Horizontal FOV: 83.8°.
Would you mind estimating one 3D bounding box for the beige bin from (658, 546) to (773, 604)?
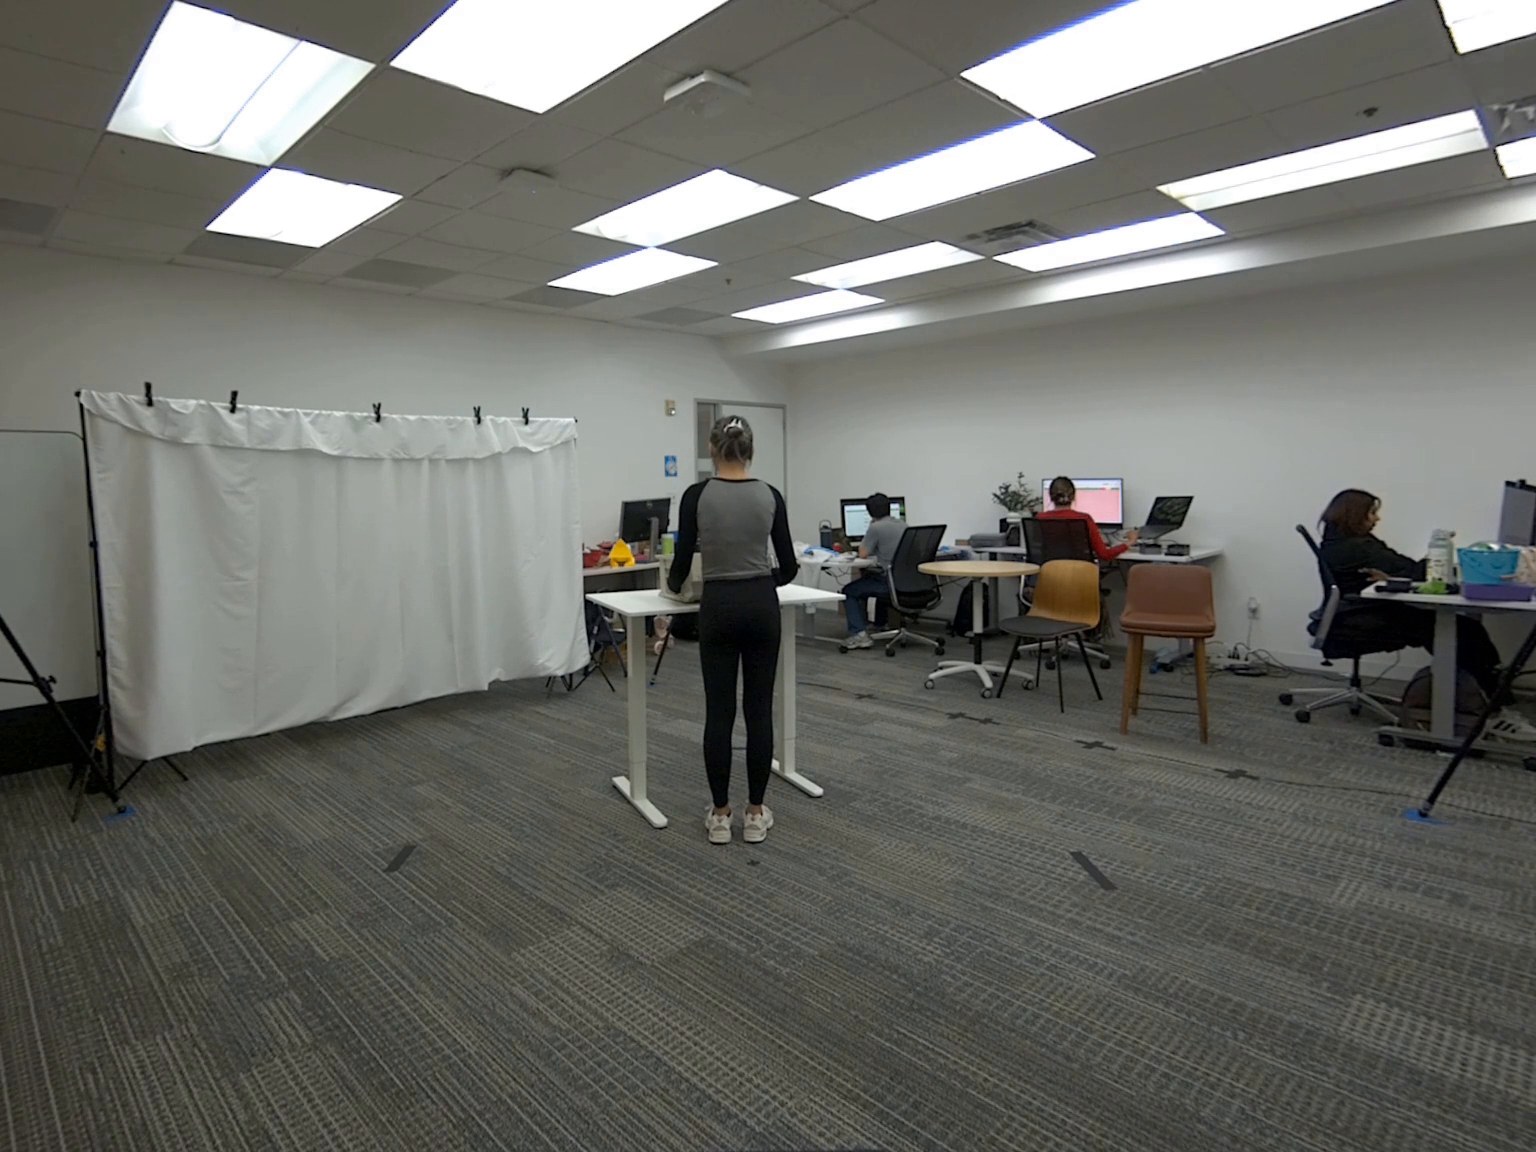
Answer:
[{"bbox_3d":[-0.218,-0.002,3.726,0.413,0.188,0.387,-5,4,-29],"label":"beige bin"}]
